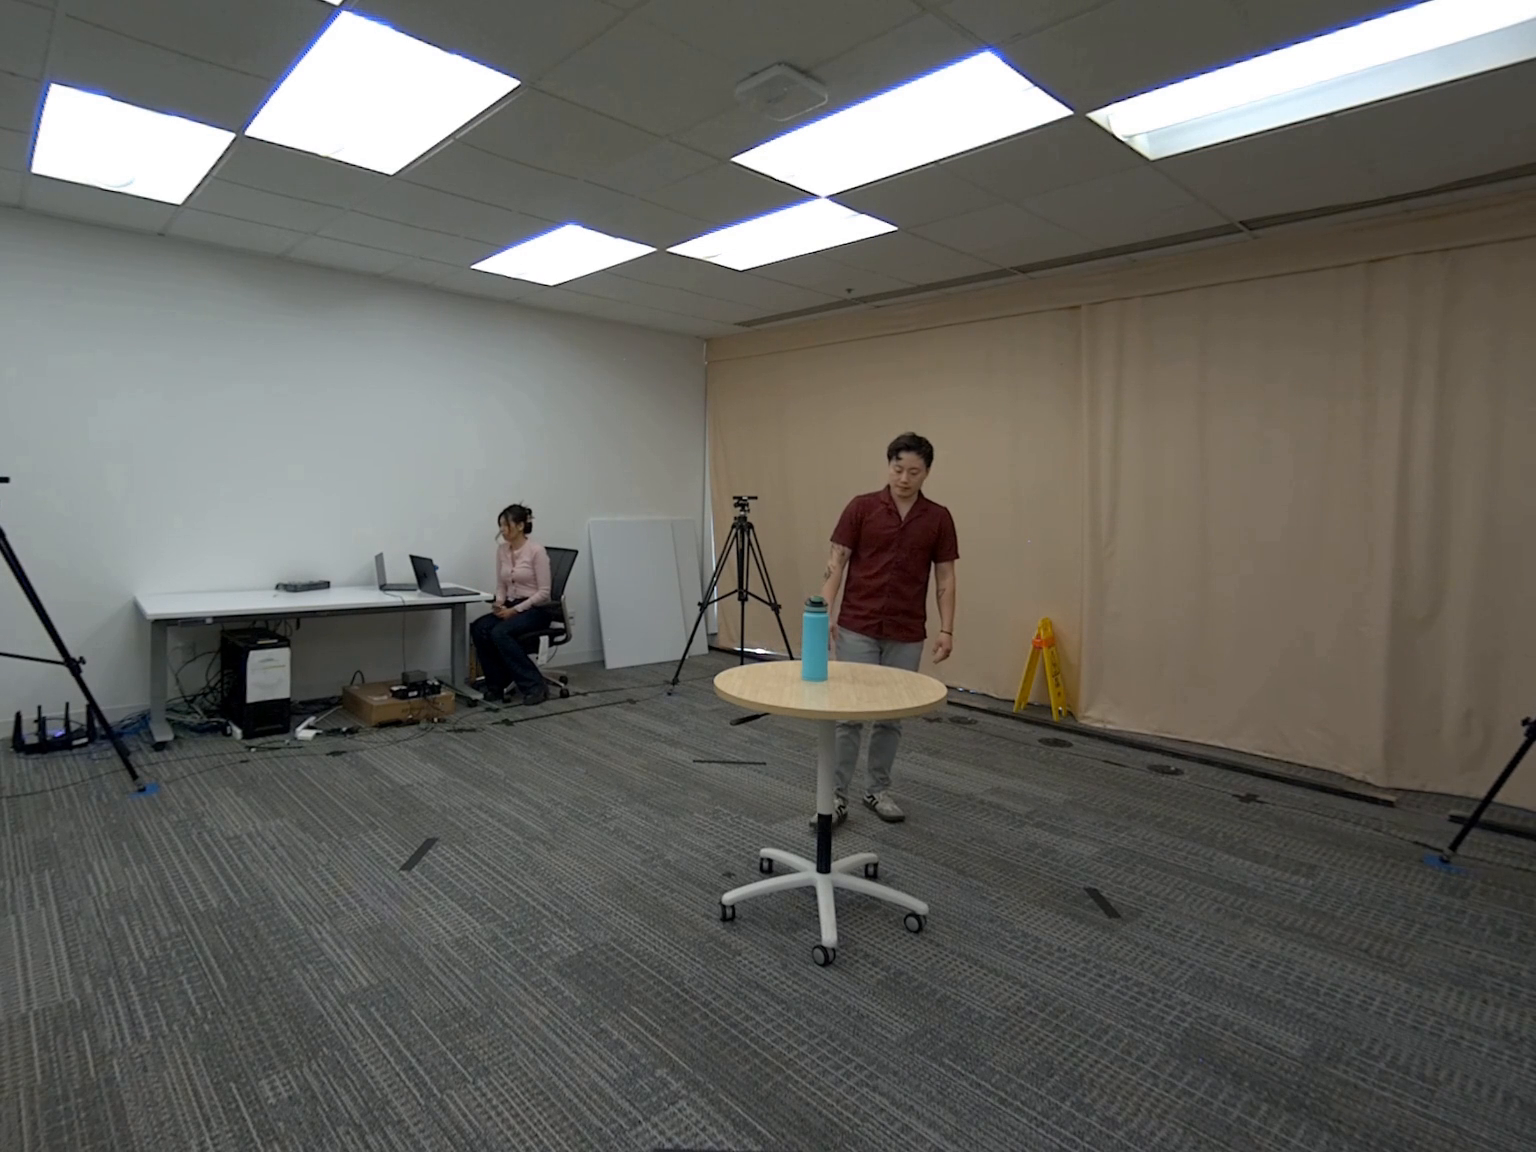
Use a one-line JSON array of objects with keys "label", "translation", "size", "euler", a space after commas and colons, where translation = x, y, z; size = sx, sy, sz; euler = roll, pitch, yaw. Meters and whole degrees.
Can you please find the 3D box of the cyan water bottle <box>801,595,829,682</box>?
[{"label": "cyan water bottle", "translation": [0.157, 0.211, 2.849], "size": [0.092, 0.283, 0.092], "euler": [1, 2, -1]}]
